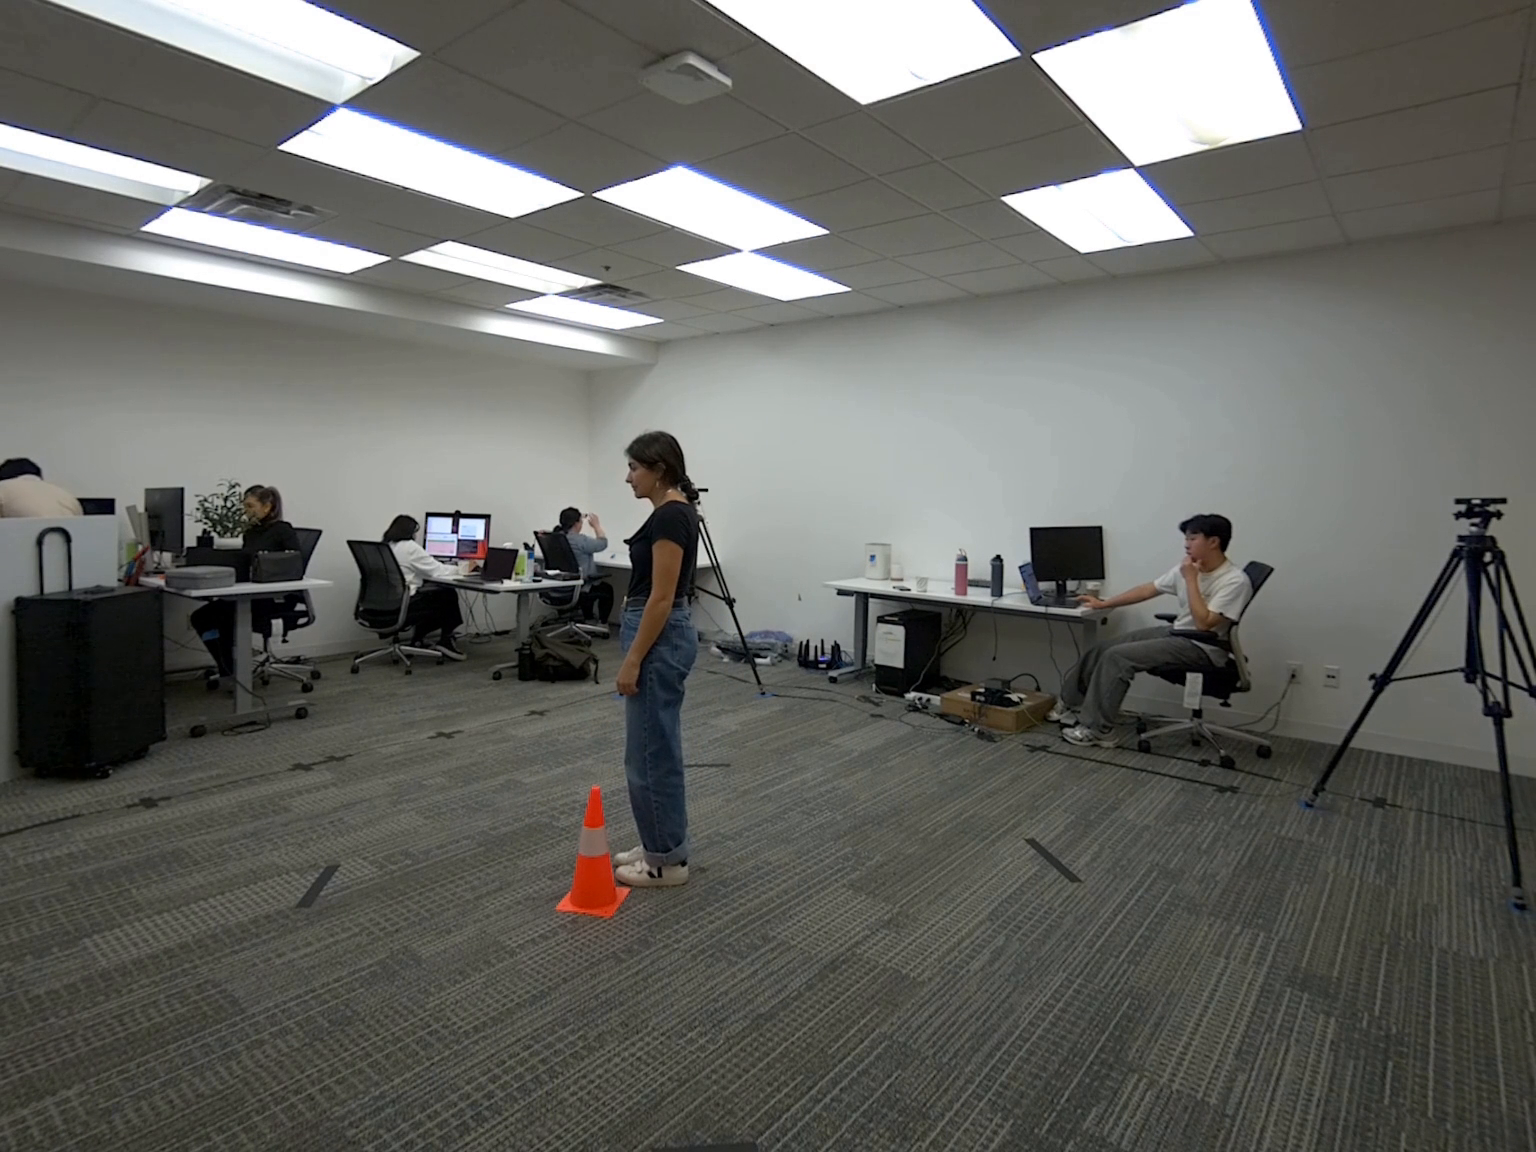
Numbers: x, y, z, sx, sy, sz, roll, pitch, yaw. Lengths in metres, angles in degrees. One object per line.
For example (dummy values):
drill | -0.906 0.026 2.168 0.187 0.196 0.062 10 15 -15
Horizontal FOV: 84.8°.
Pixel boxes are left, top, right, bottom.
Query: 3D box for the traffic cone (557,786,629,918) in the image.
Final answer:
traffic cone | -0.590 0.896 2.864 0.206 0.382 0.203 3 4 12
